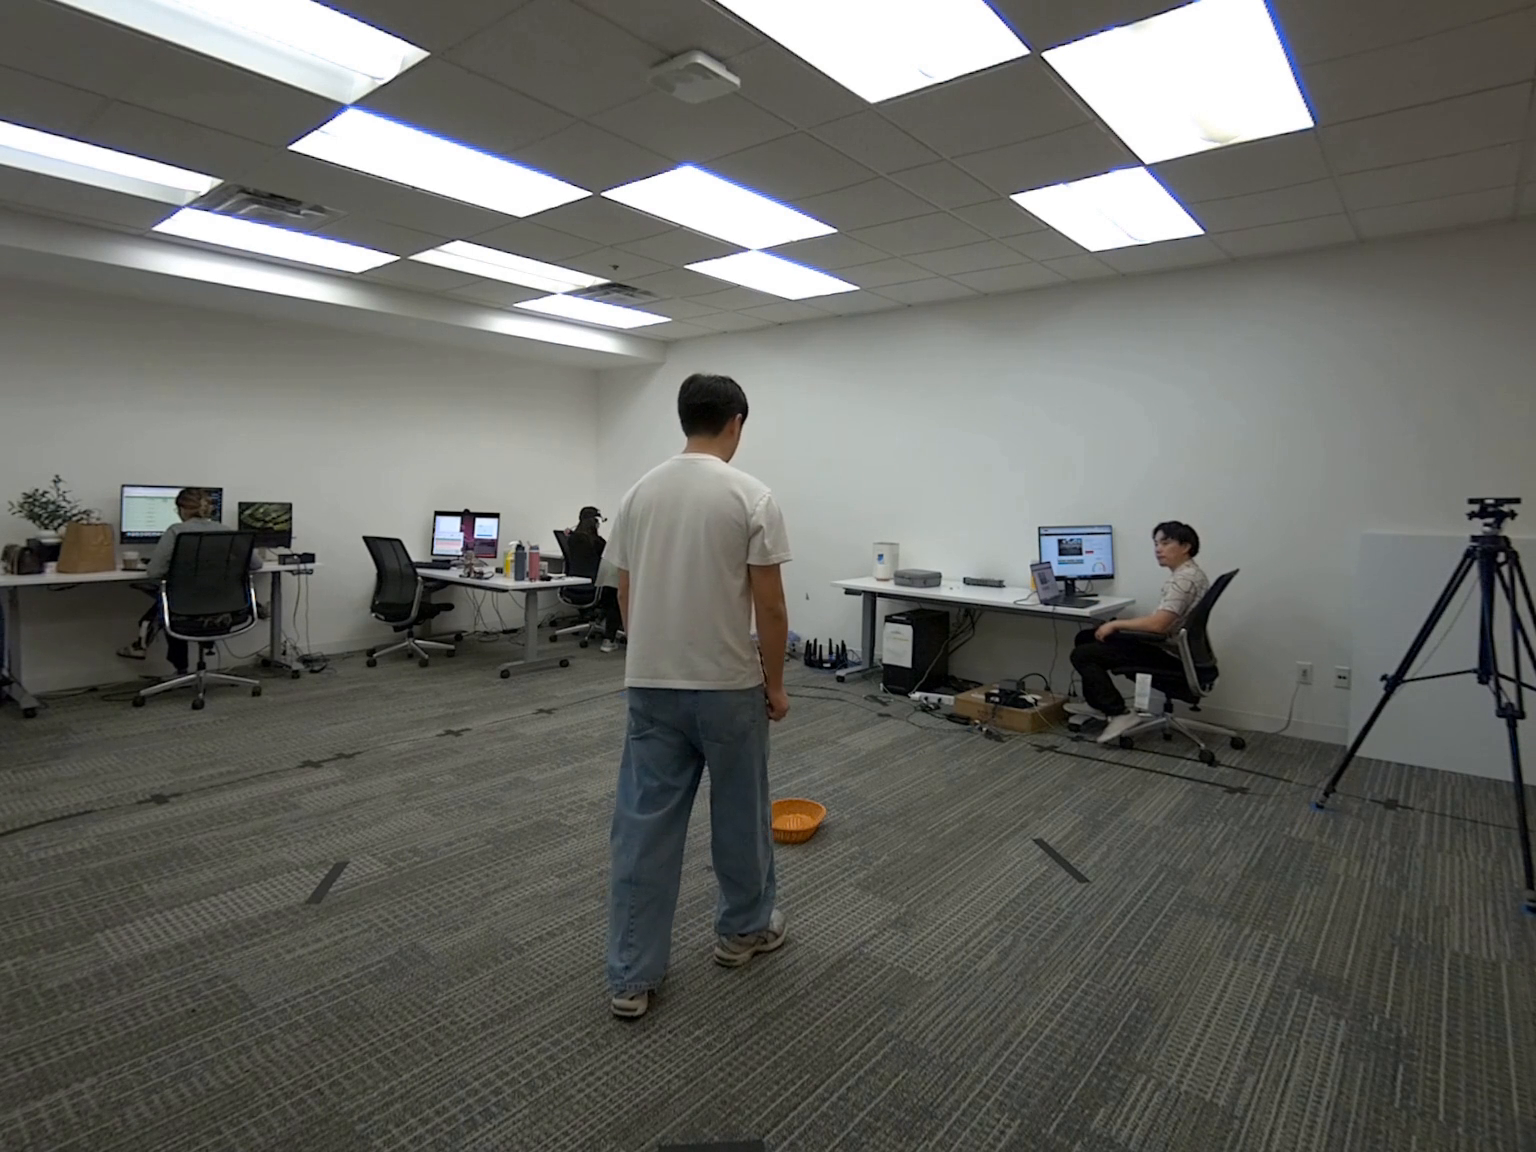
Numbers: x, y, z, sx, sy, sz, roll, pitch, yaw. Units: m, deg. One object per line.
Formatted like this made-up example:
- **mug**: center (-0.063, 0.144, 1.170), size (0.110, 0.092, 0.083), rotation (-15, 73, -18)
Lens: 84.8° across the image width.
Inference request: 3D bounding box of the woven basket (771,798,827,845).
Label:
- **woven basket**: center (0.088, 0.998, 3.480), size (0.258, 0.073, 0.344), rotation (3, 6, 22)
